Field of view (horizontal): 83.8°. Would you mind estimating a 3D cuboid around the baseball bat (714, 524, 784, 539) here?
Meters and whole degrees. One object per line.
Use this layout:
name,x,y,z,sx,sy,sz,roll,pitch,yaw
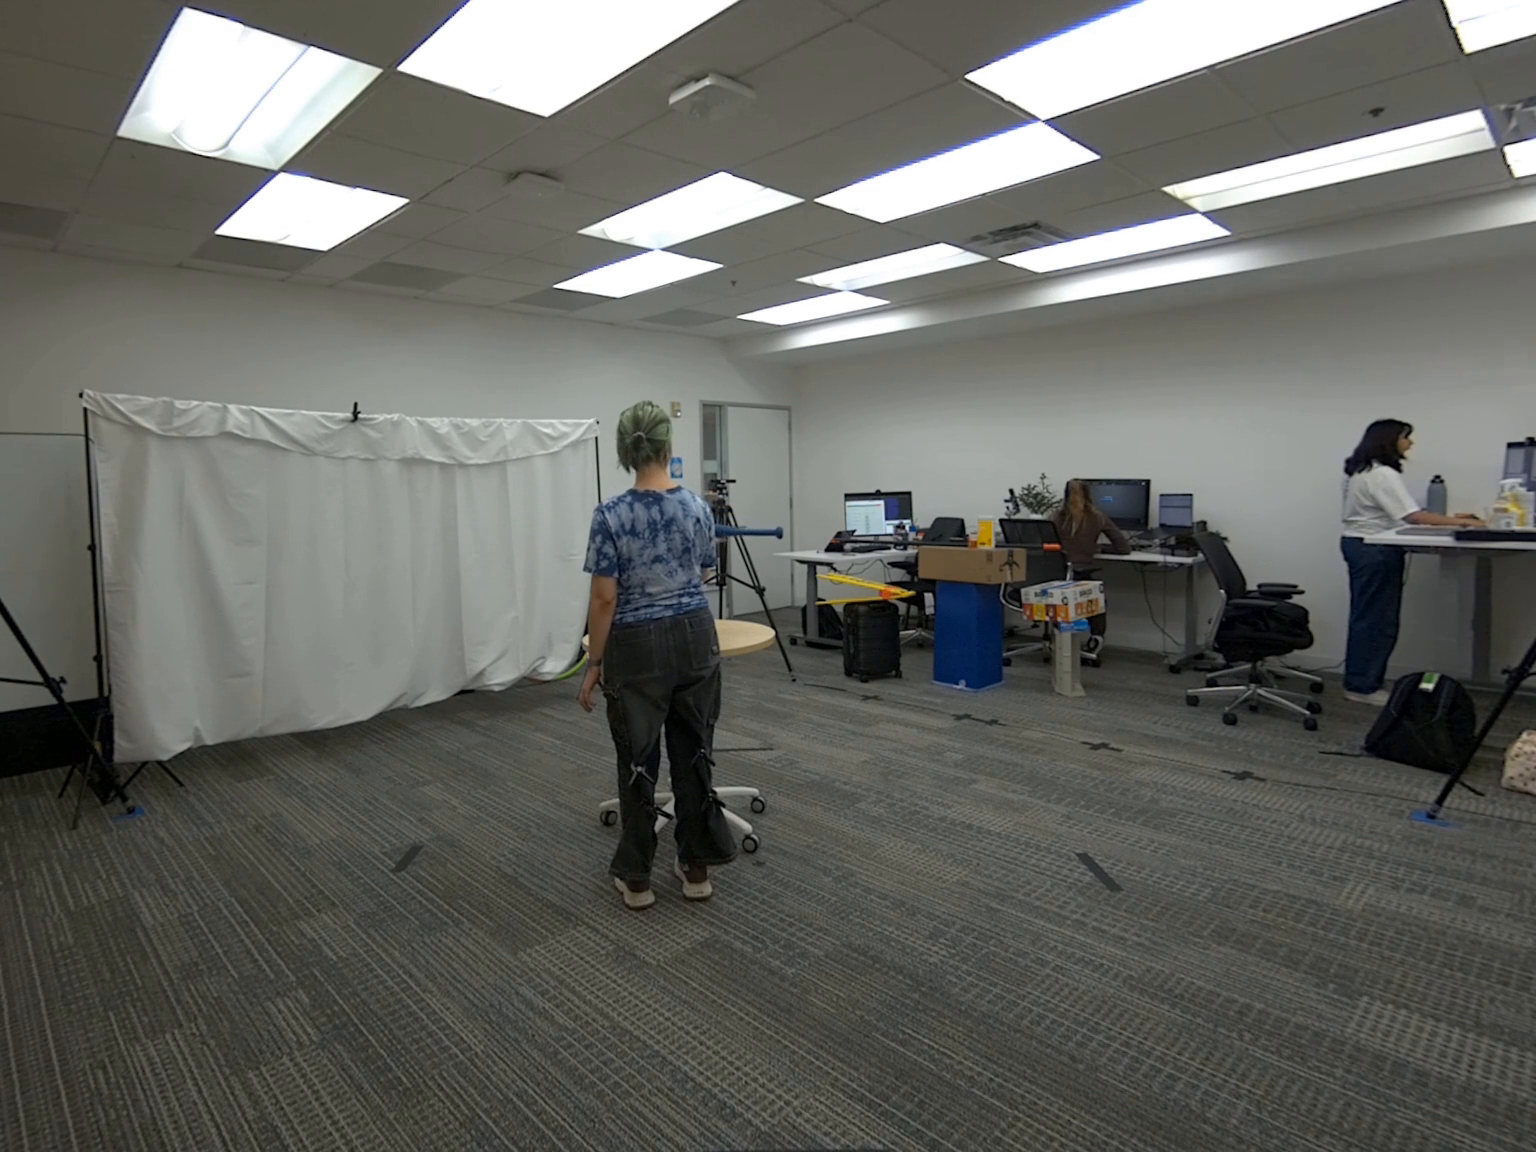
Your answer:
baseball bat,-0.198,-0.169,3.282,0.547,0.089,0.089,3,5,8
